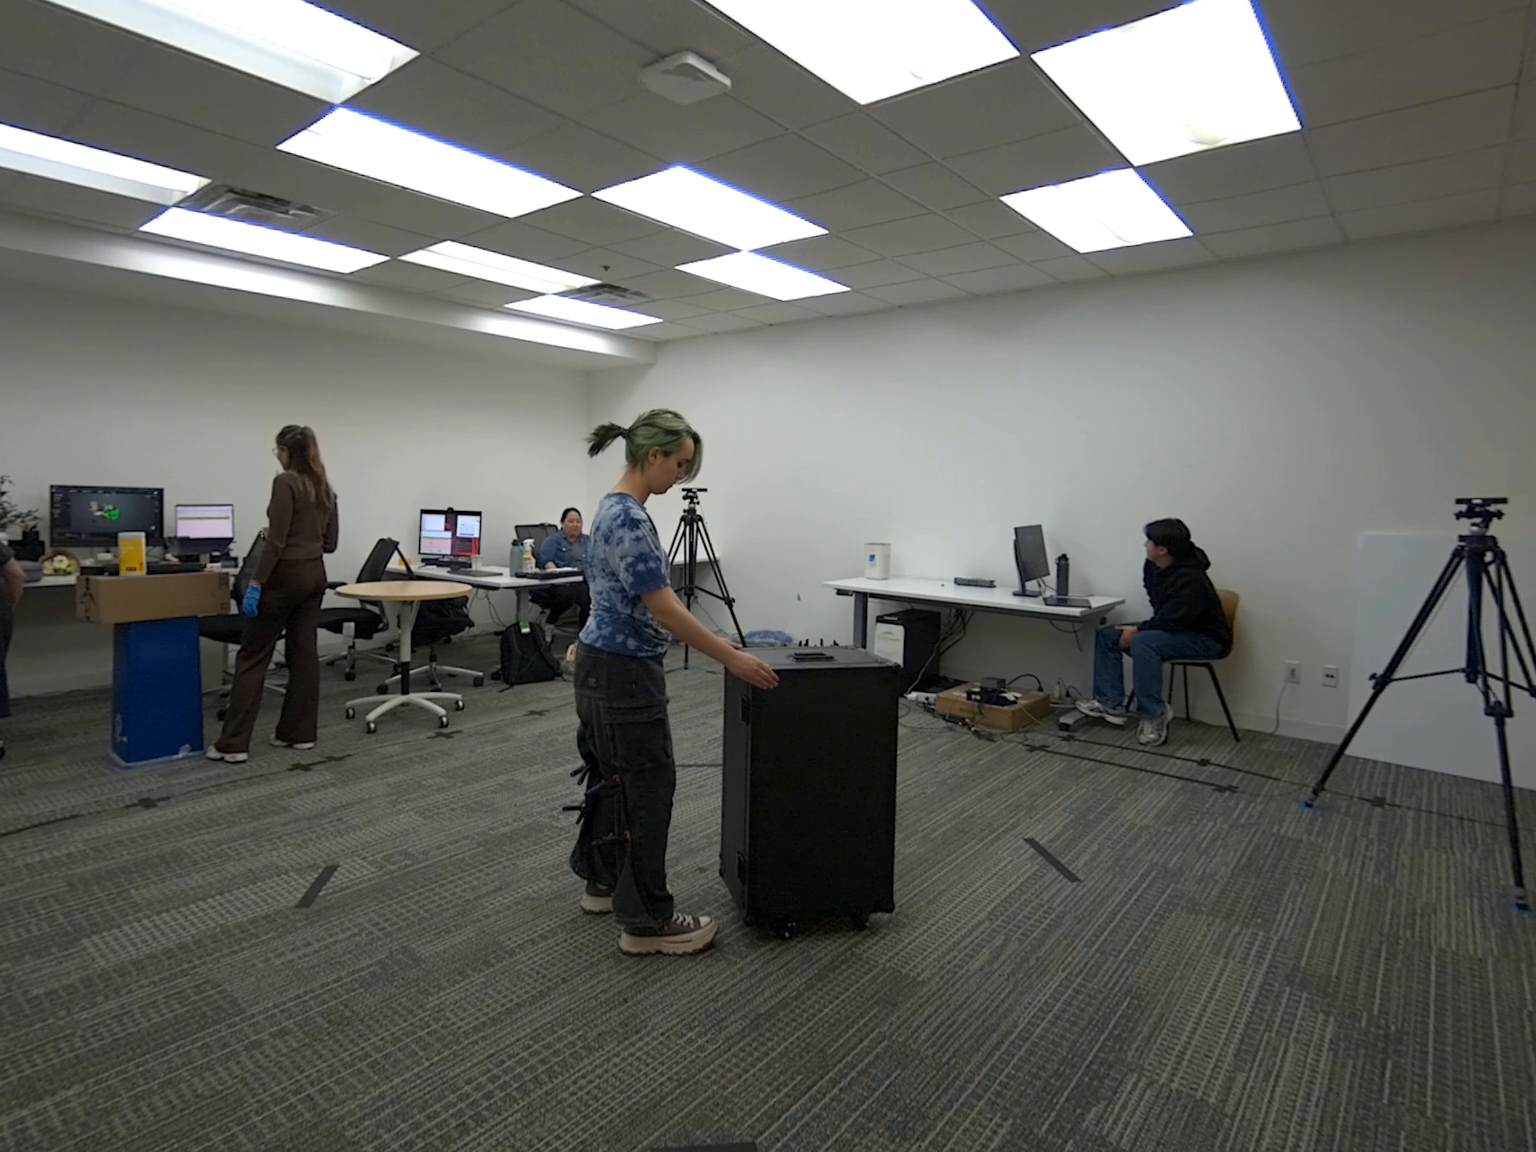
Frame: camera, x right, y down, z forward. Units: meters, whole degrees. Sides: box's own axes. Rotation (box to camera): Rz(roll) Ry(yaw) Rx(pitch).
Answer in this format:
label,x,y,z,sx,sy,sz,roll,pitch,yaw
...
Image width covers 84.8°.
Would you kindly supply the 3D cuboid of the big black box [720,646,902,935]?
label,x,y,z,sx,sy,sz,roll,pitch,yaw
big black box,0.107,0.695,2.784,0.513,0.860,0.403,0,3,-15
